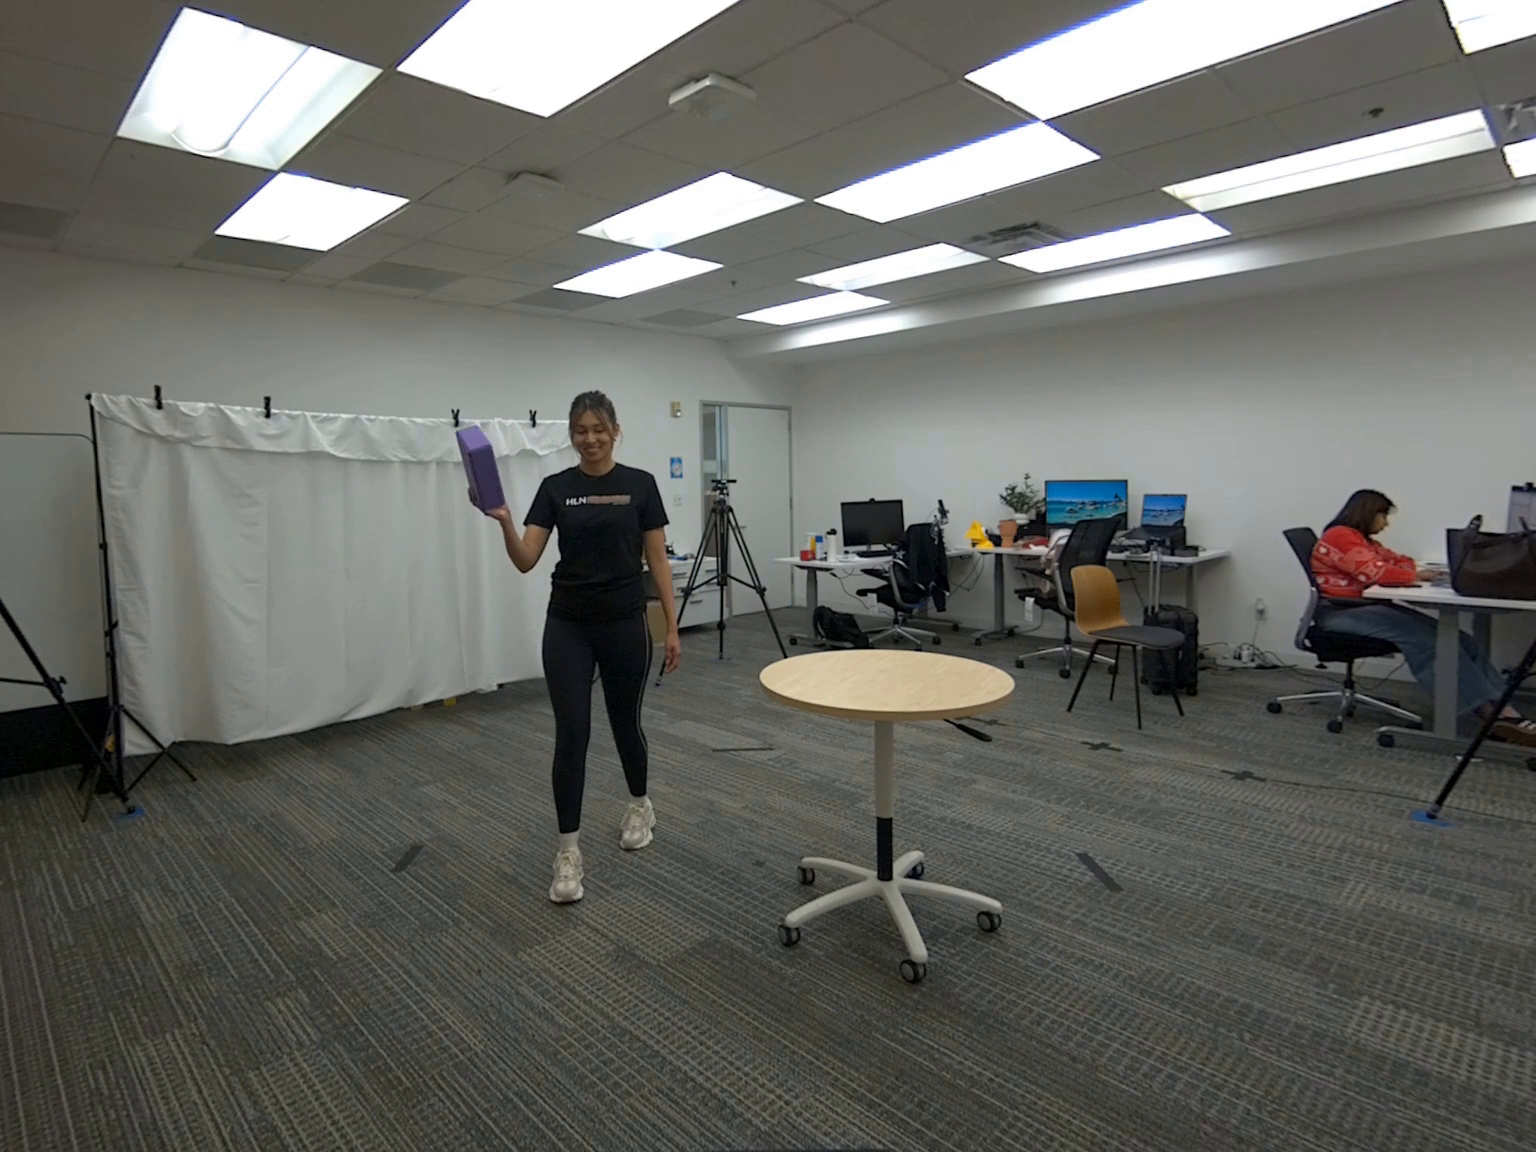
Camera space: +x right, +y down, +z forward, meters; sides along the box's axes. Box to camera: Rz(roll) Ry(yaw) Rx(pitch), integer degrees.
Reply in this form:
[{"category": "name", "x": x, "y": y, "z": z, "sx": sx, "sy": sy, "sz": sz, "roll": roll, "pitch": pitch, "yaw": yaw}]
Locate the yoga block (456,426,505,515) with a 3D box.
[{"category": "yoga block", "x": -0.897, "y": -0.341, "z": 2.674, "sx": 0.075, "sy": 0.223, "sz": 0.155, "roll": -22, "pitch": 43, "yaw": -22}]
